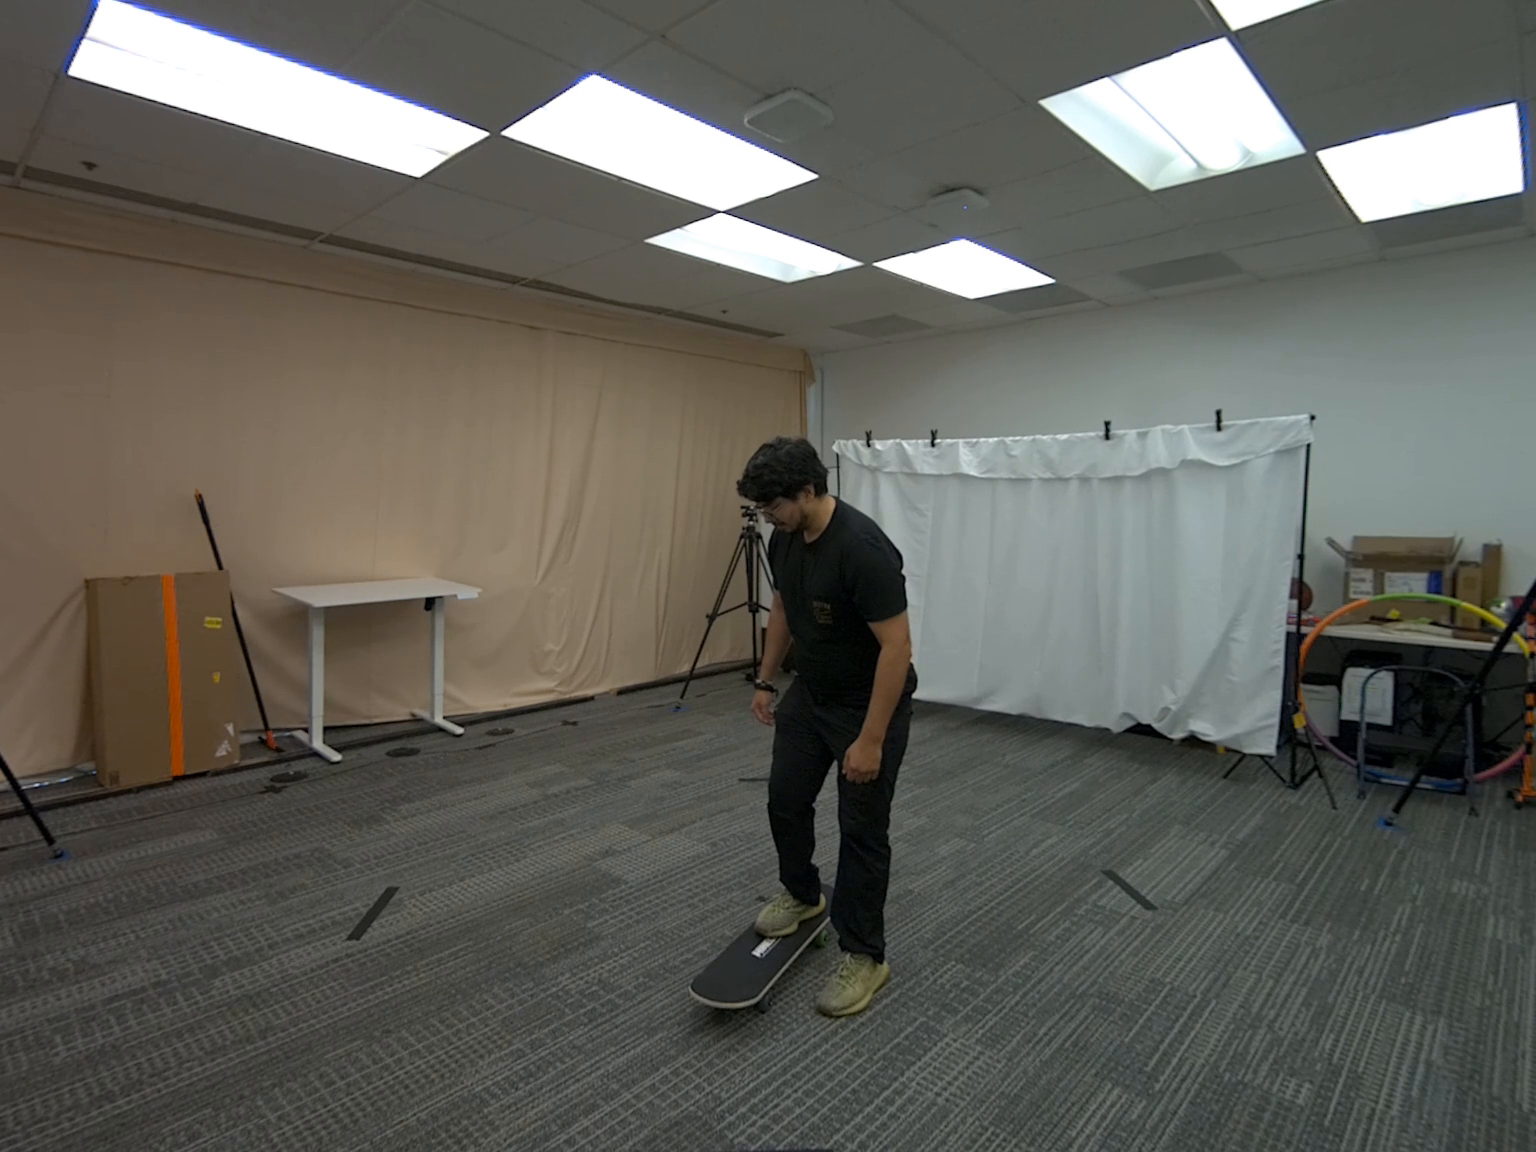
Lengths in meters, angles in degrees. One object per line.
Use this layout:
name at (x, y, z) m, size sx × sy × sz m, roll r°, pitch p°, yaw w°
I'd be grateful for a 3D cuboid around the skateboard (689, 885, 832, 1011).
skateboard at (0.018, 1.131, 2.525) m, size 0.199 × 0.110 × 0.766 m, roll 3°, pitch 5°, yaw 27°
